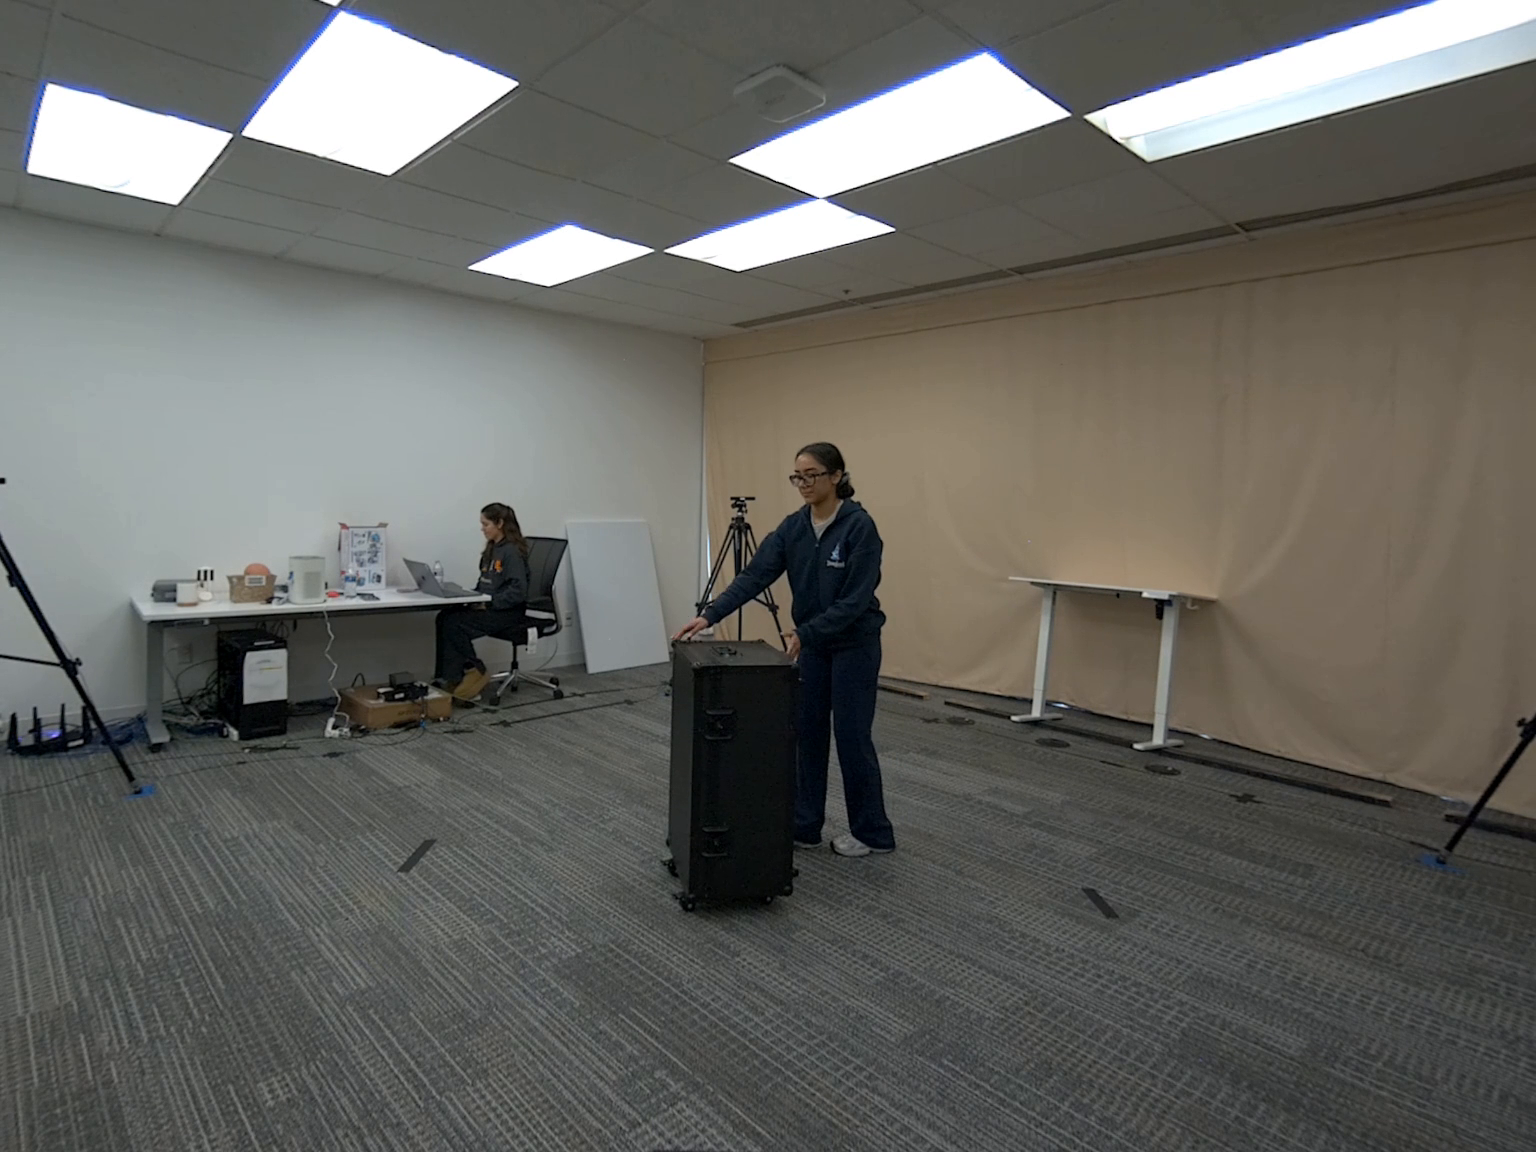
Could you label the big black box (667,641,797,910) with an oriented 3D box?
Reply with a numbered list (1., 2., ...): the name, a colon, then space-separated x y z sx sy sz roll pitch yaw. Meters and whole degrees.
1. big black box: -0.140 0.692 2.995 0.392 0.860 0.528 2 3 -15
